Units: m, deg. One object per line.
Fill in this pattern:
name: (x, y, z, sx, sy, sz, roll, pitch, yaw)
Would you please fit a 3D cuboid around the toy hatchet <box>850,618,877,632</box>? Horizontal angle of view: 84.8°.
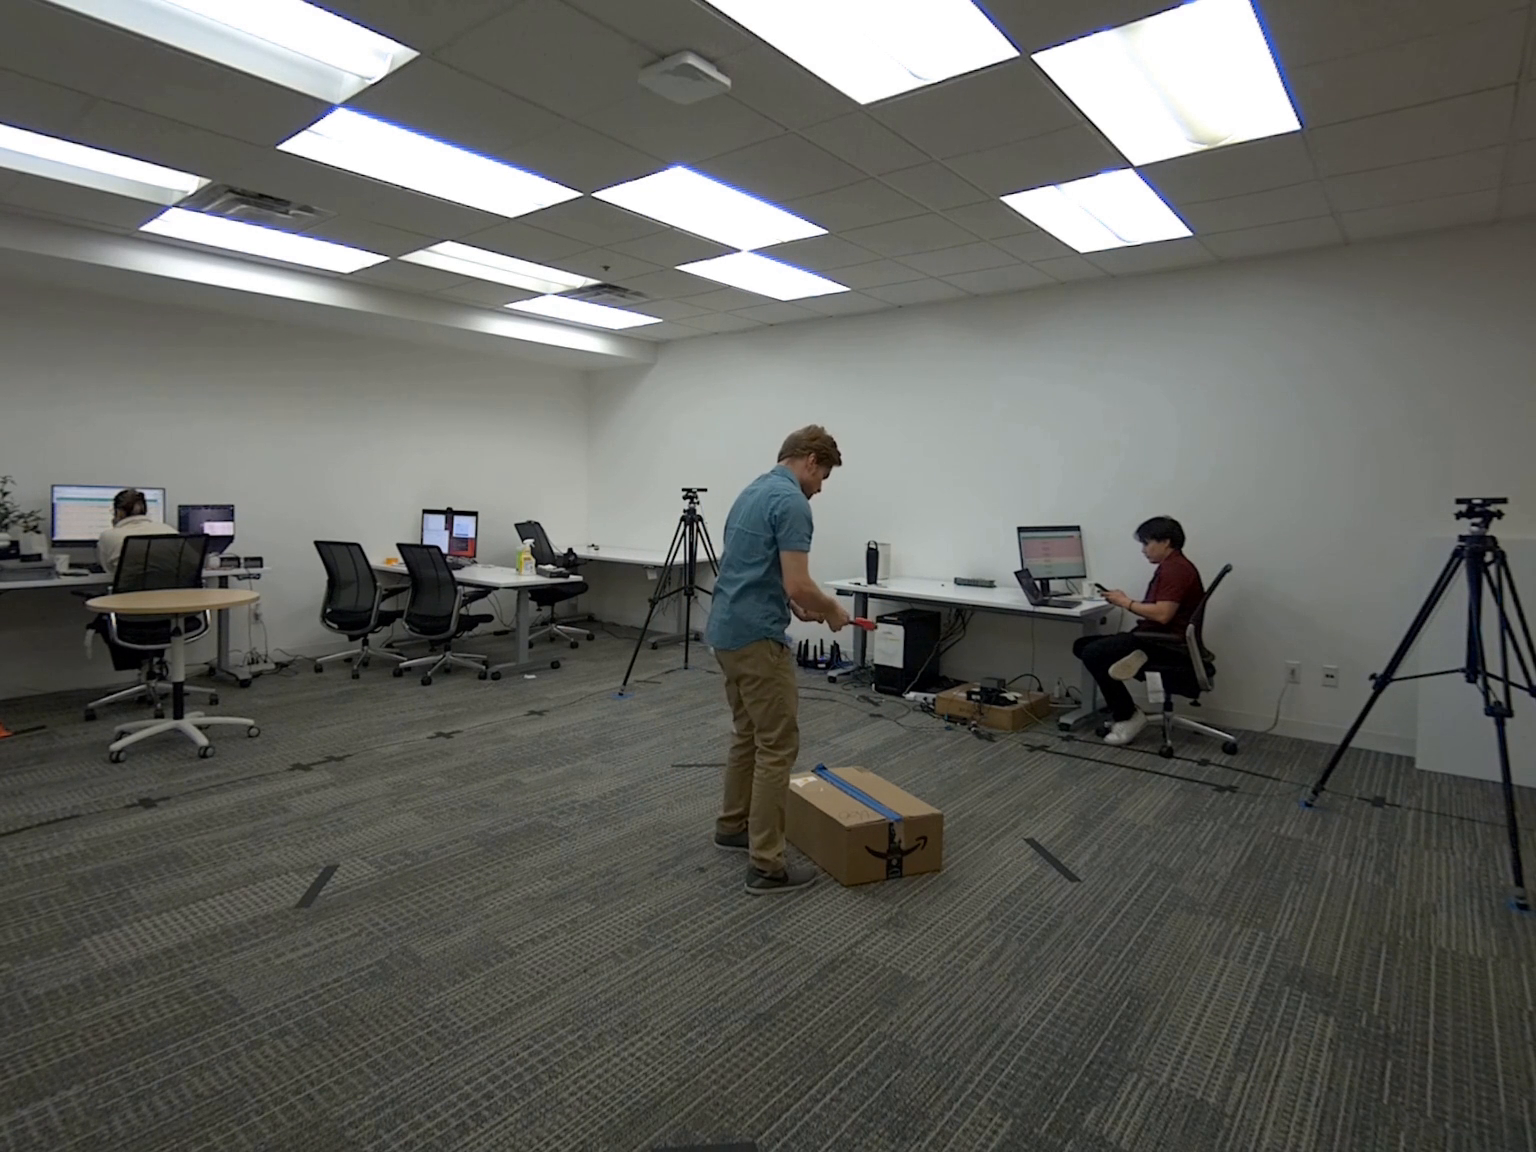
toy hatchet: (0.261, 0.168, 3.192, 0.270, 0.030, 0.130, 12, -10, -1)
